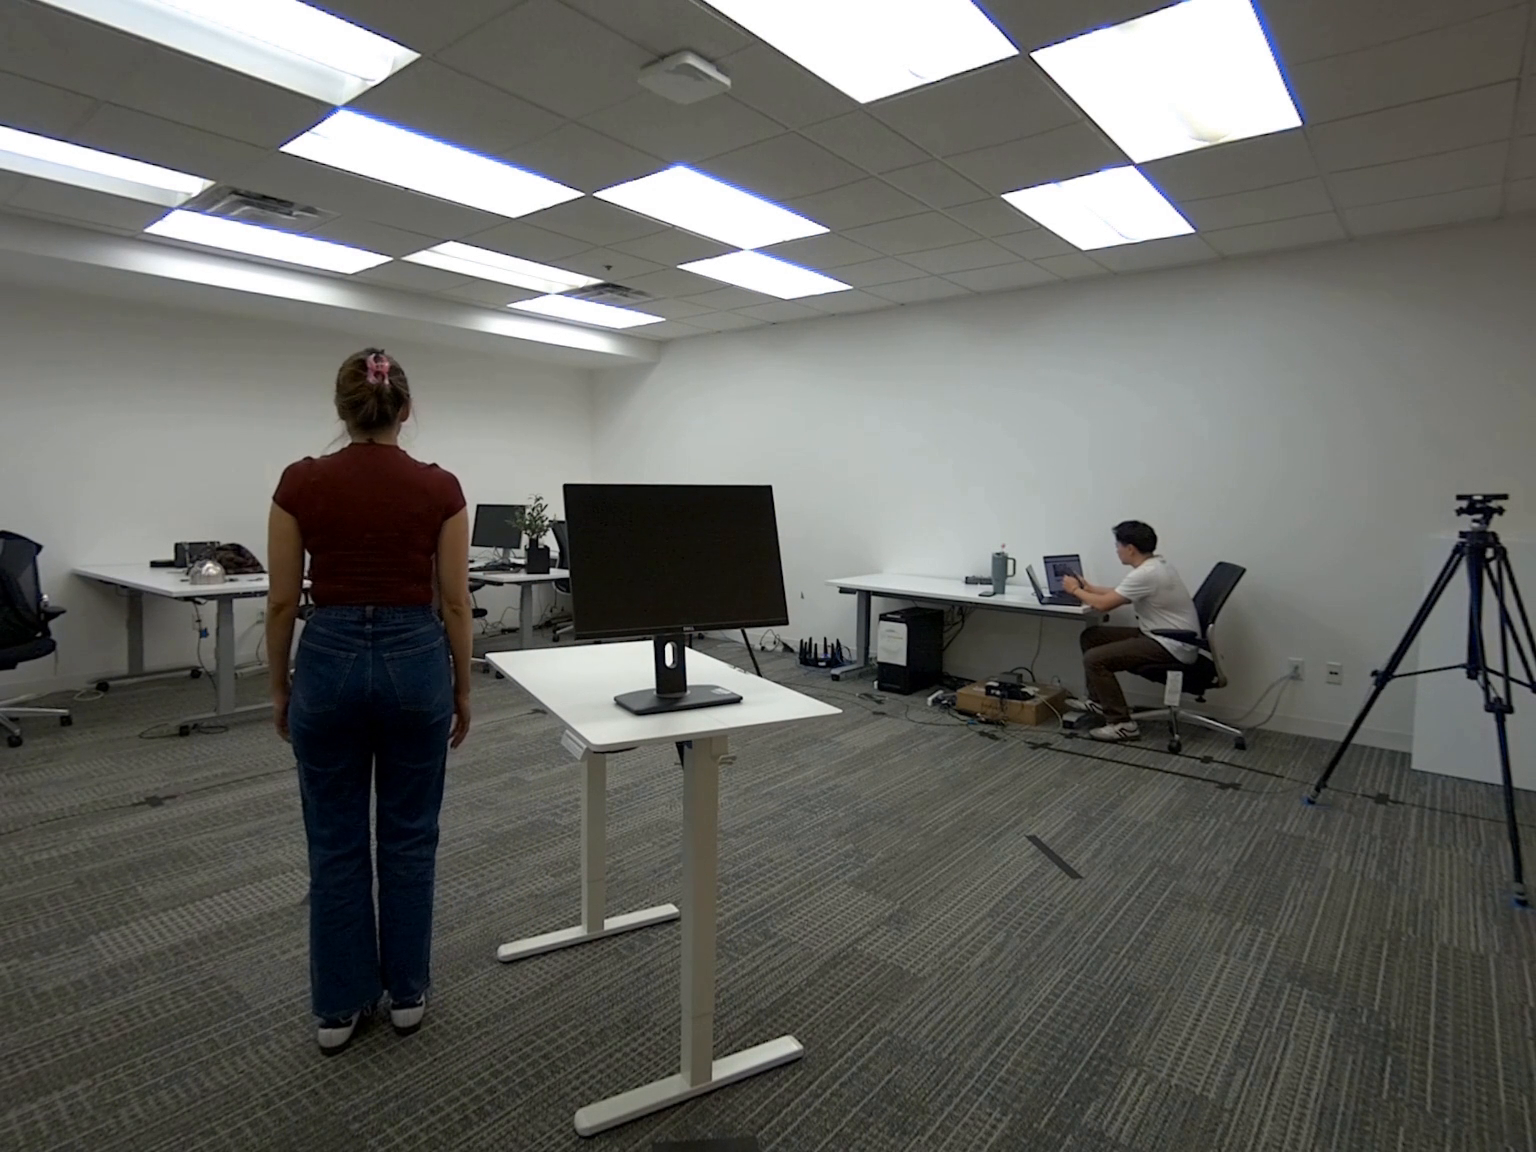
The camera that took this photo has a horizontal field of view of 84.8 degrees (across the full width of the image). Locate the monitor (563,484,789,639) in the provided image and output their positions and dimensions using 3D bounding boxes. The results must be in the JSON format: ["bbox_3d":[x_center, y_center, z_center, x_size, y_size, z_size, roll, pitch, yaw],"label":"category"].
[{"bbox_3d":[-0.233,0.048,2.007,0.525,0.522,0.192,-2,1,-28],"label":"monitor"}]
